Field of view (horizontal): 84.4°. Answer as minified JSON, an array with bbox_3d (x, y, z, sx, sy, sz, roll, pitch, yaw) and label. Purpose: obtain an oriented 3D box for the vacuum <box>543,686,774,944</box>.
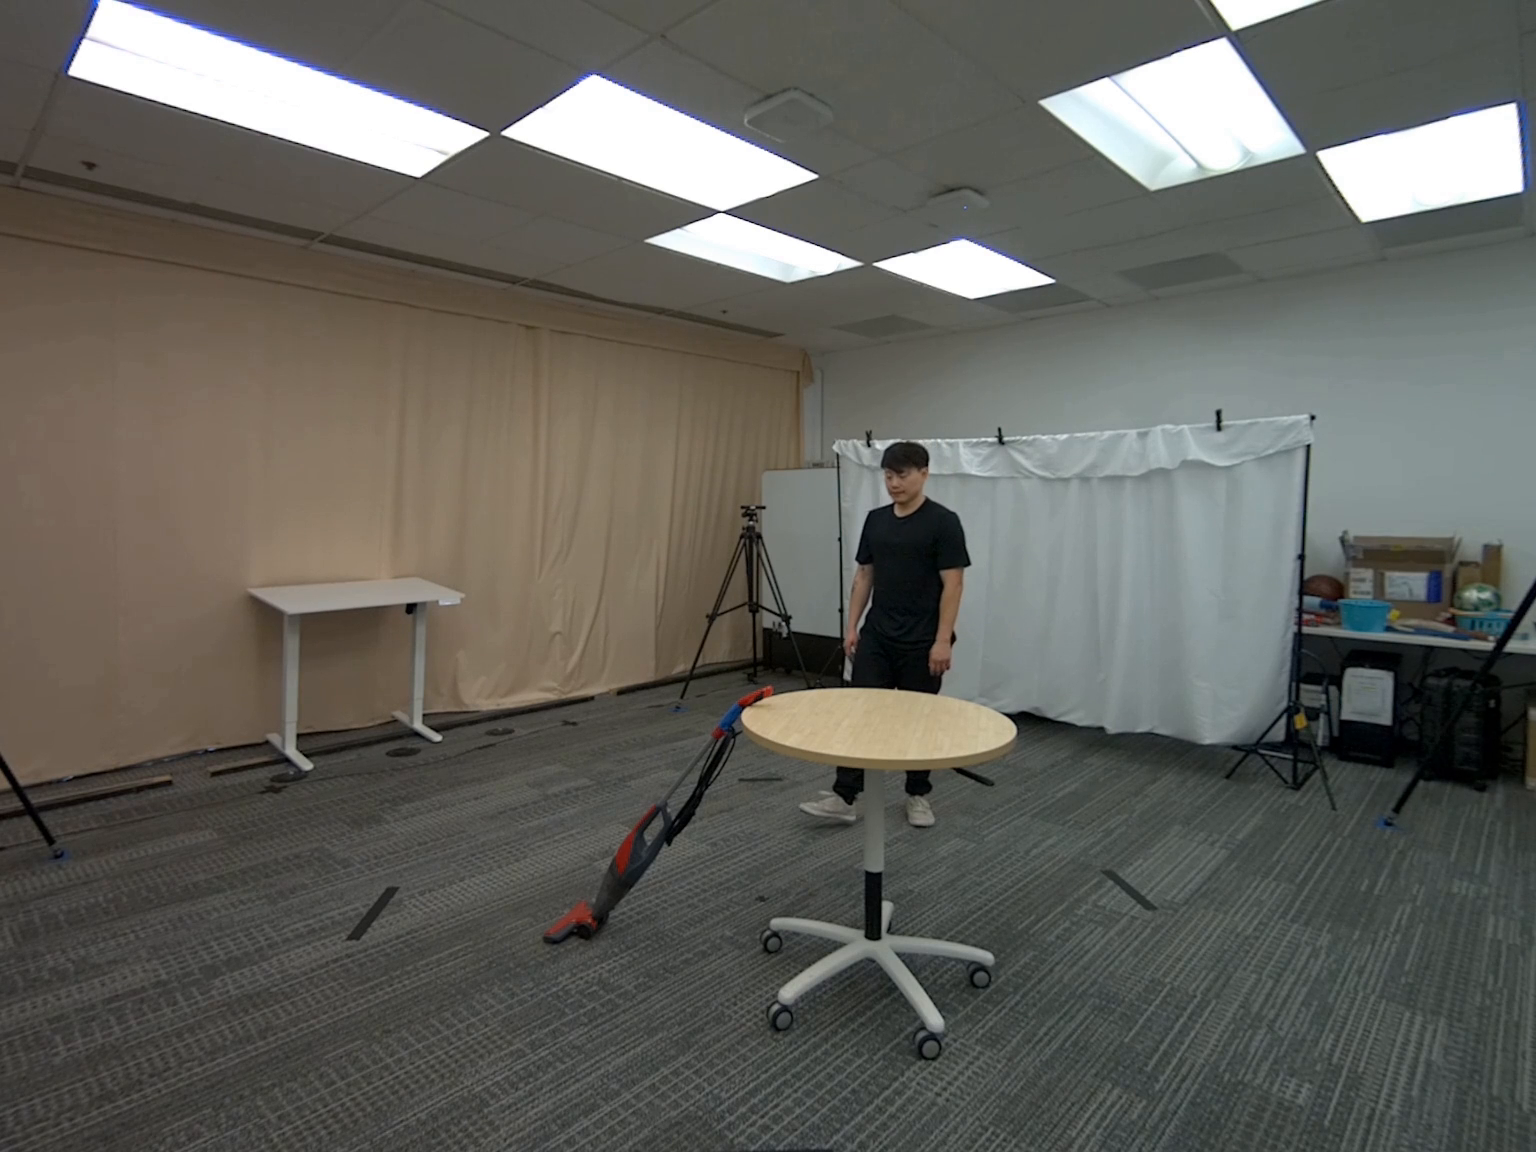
[{"bbox_3d":[-0.319,0.753,2.656,0.147,1.051,0.247,40,15,14],"label":"vacuum"}]
